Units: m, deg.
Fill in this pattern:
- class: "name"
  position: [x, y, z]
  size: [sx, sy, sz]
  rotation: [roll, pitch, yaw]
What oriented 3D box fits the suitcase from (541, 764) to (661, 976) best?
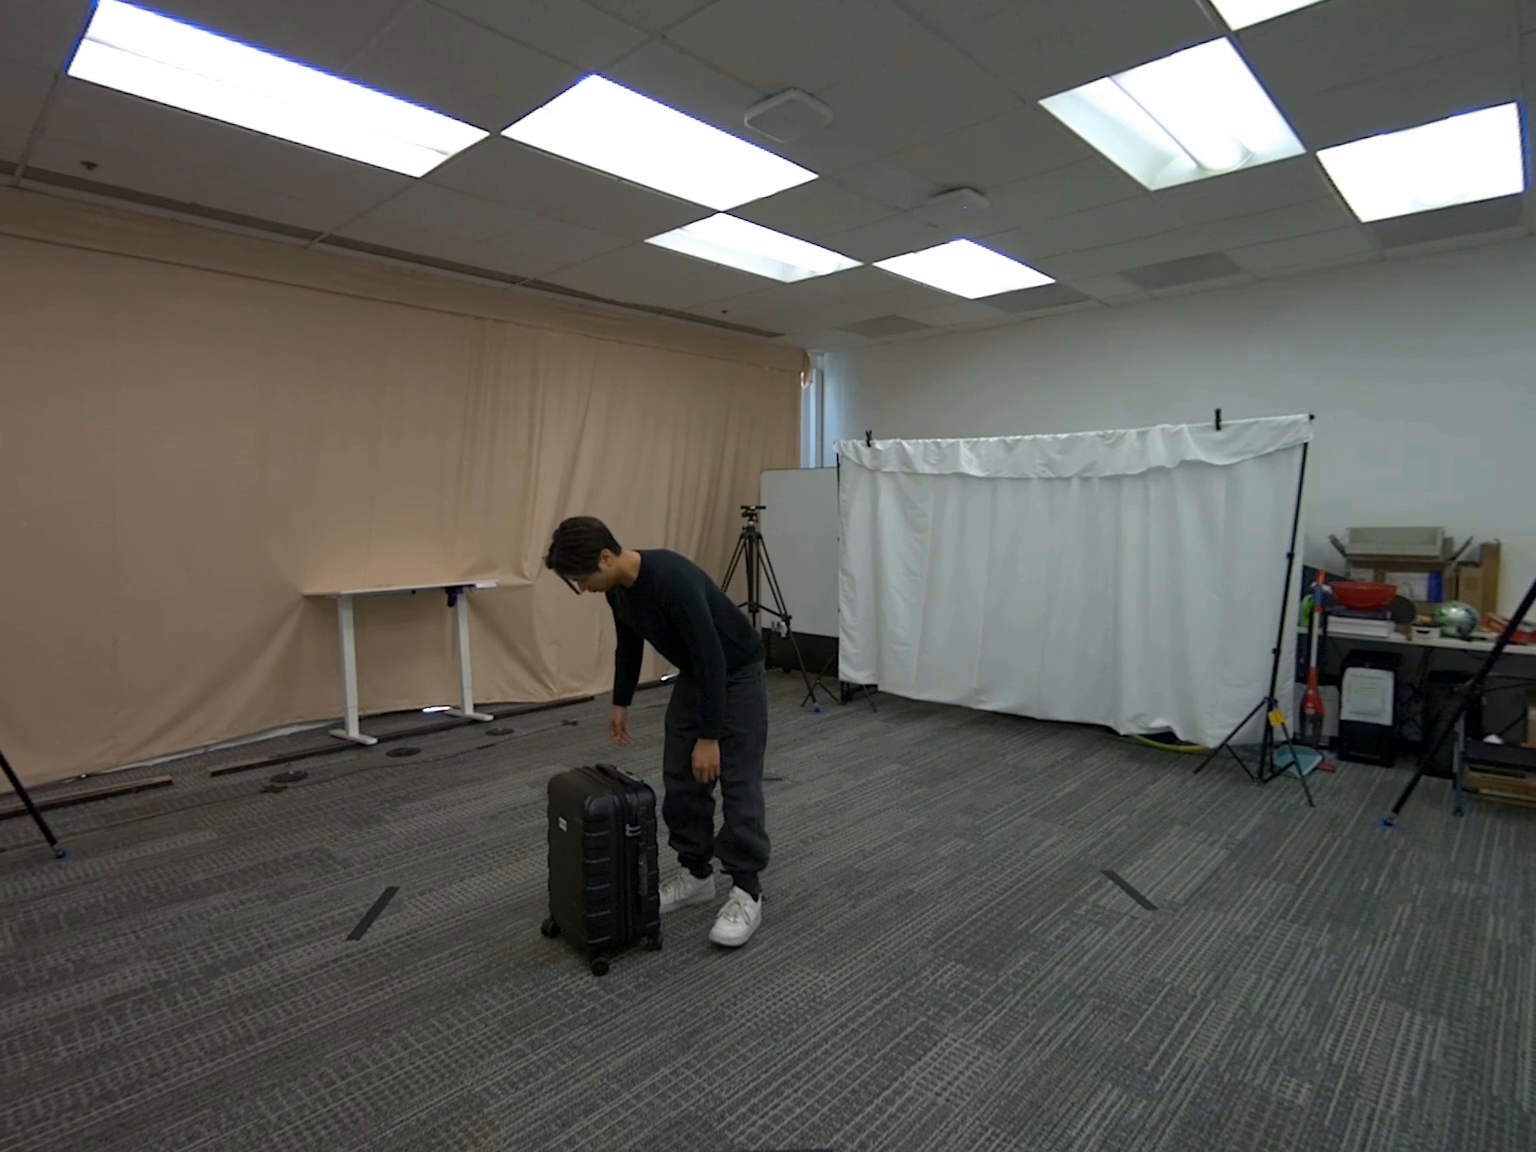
- class: "suitcase"
  position: [-0.529, 0.894, 2.672]
  size: [0.241, 0.548, 0.387]
  rotation: [-2, 4, -35]
